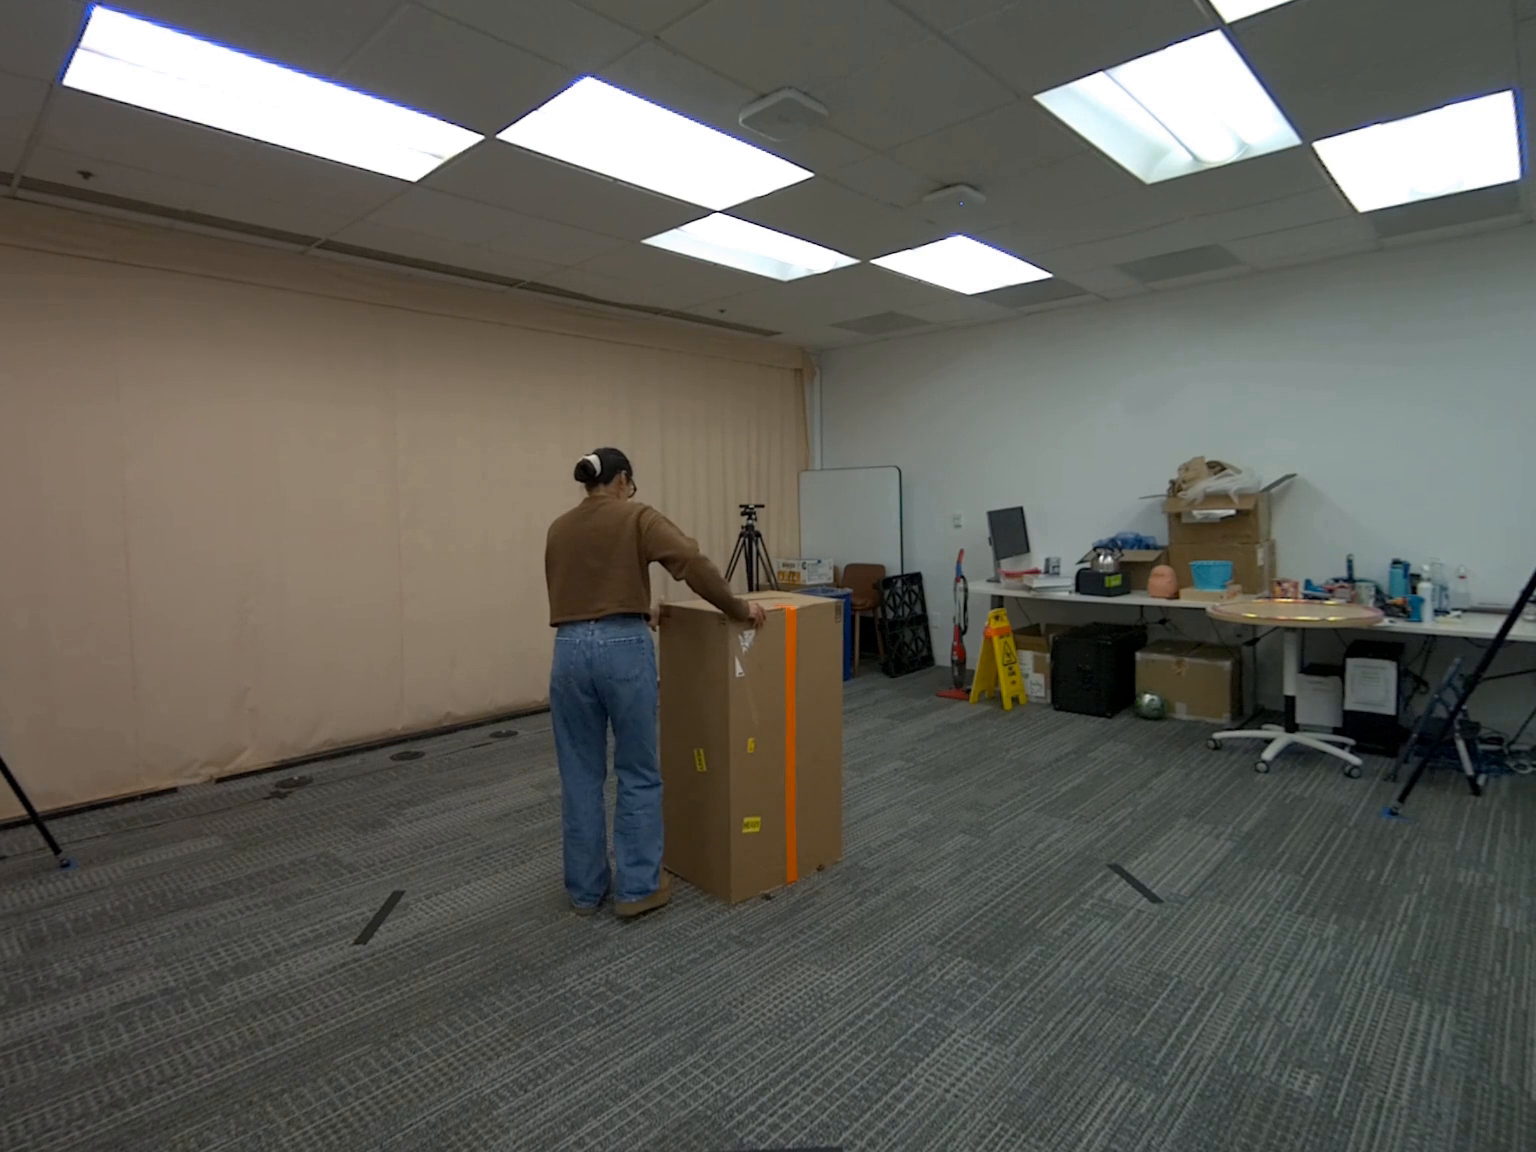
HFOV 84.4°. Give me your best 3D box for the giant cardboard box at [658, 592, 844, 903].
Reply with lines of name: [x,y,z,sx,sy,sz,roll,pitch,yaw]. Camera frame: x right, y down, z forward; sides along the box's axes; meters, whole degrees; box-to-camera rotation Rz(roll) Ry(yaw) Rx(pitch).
giant cardboard box: [-0.055,0.610,3.238,0.560,1.023,0.440,-4,5,-40]
